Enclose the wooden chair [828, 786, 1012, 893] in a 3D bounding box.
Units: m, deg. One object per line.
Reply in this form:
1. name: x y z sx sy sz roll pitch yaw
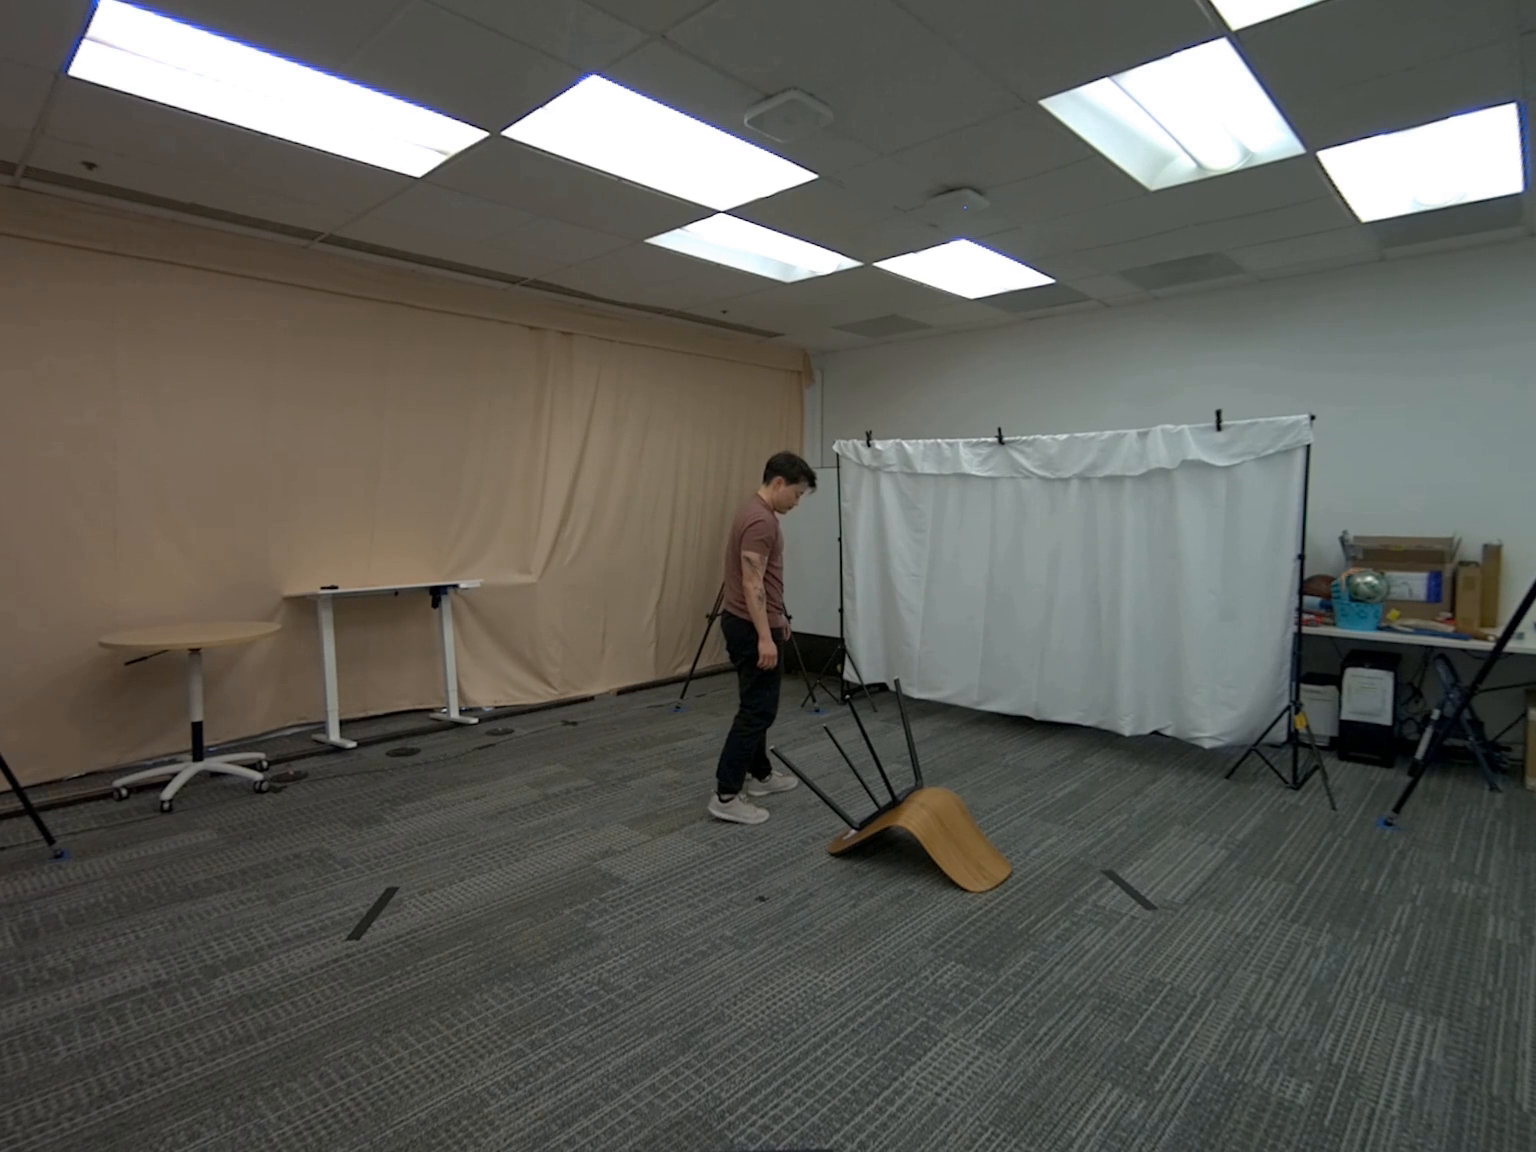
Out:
1. wooden chair: 0.491 0.936 3.411 0.527 0.897 0.464 -45 -22 28
